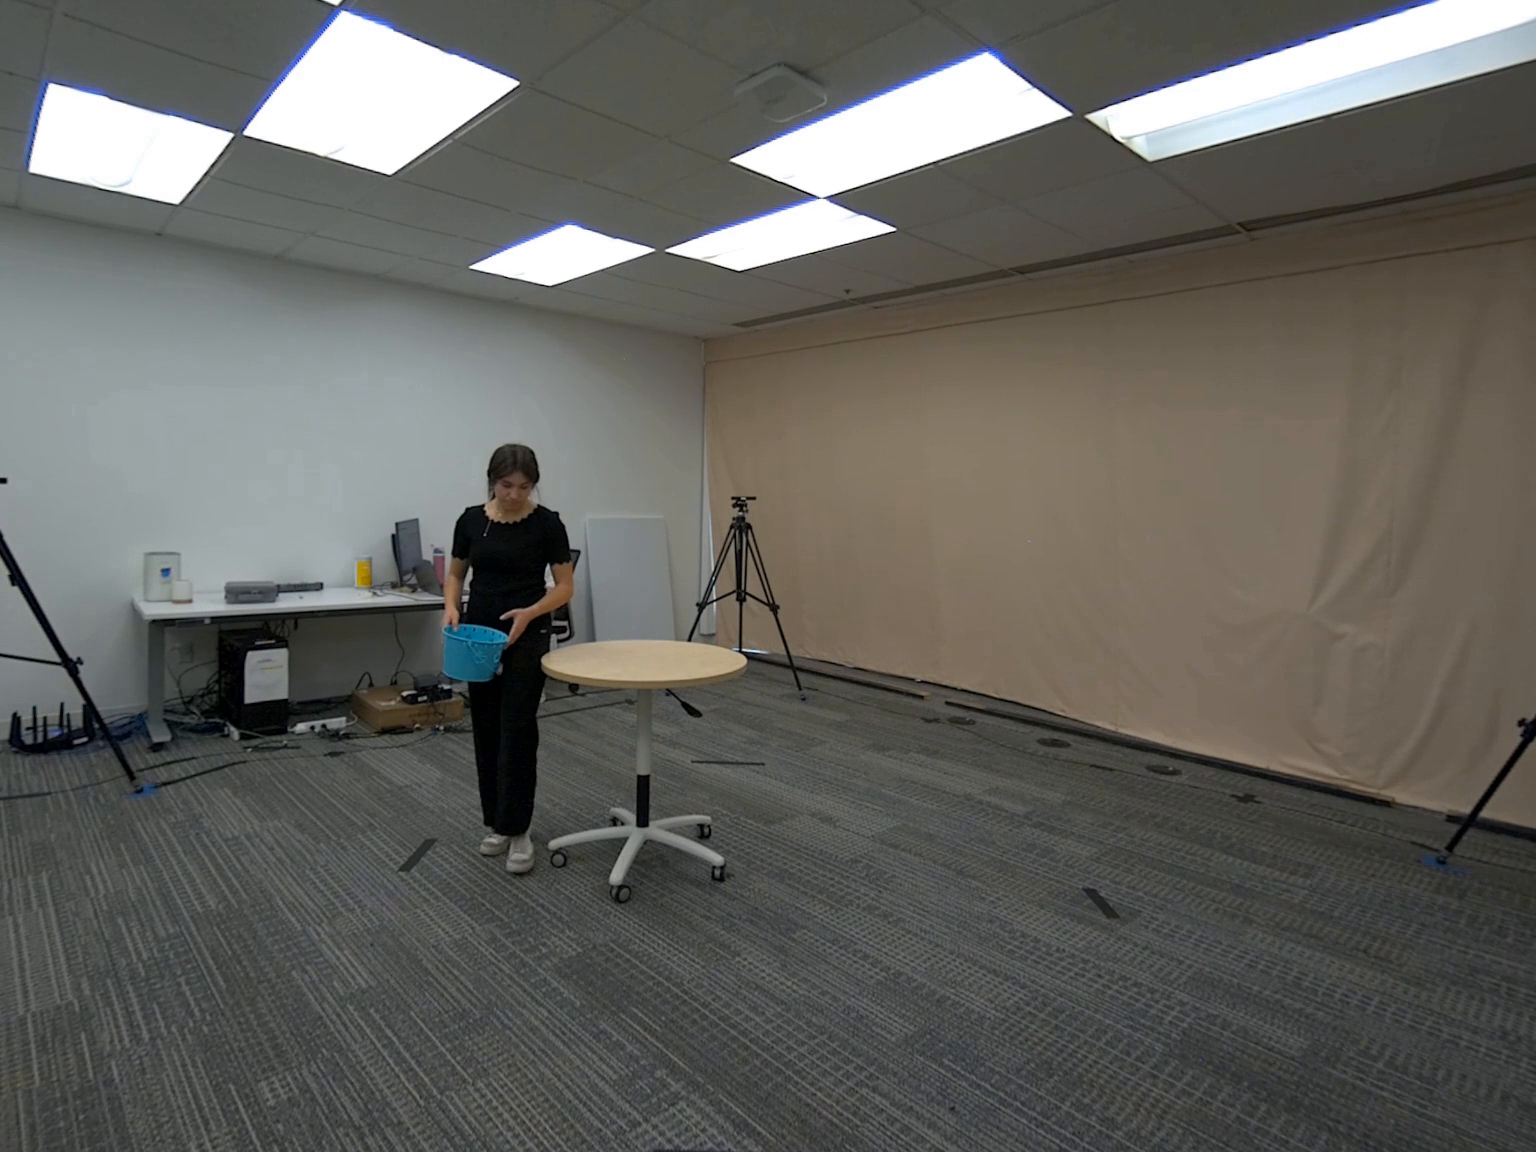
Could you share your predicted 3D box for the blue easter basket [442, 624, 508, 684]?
[{"bbox_3d":[-1.091,0.281,3.051,0.243,0.155,0.245,6,7,-2],"label":"blue easter basket"}]
